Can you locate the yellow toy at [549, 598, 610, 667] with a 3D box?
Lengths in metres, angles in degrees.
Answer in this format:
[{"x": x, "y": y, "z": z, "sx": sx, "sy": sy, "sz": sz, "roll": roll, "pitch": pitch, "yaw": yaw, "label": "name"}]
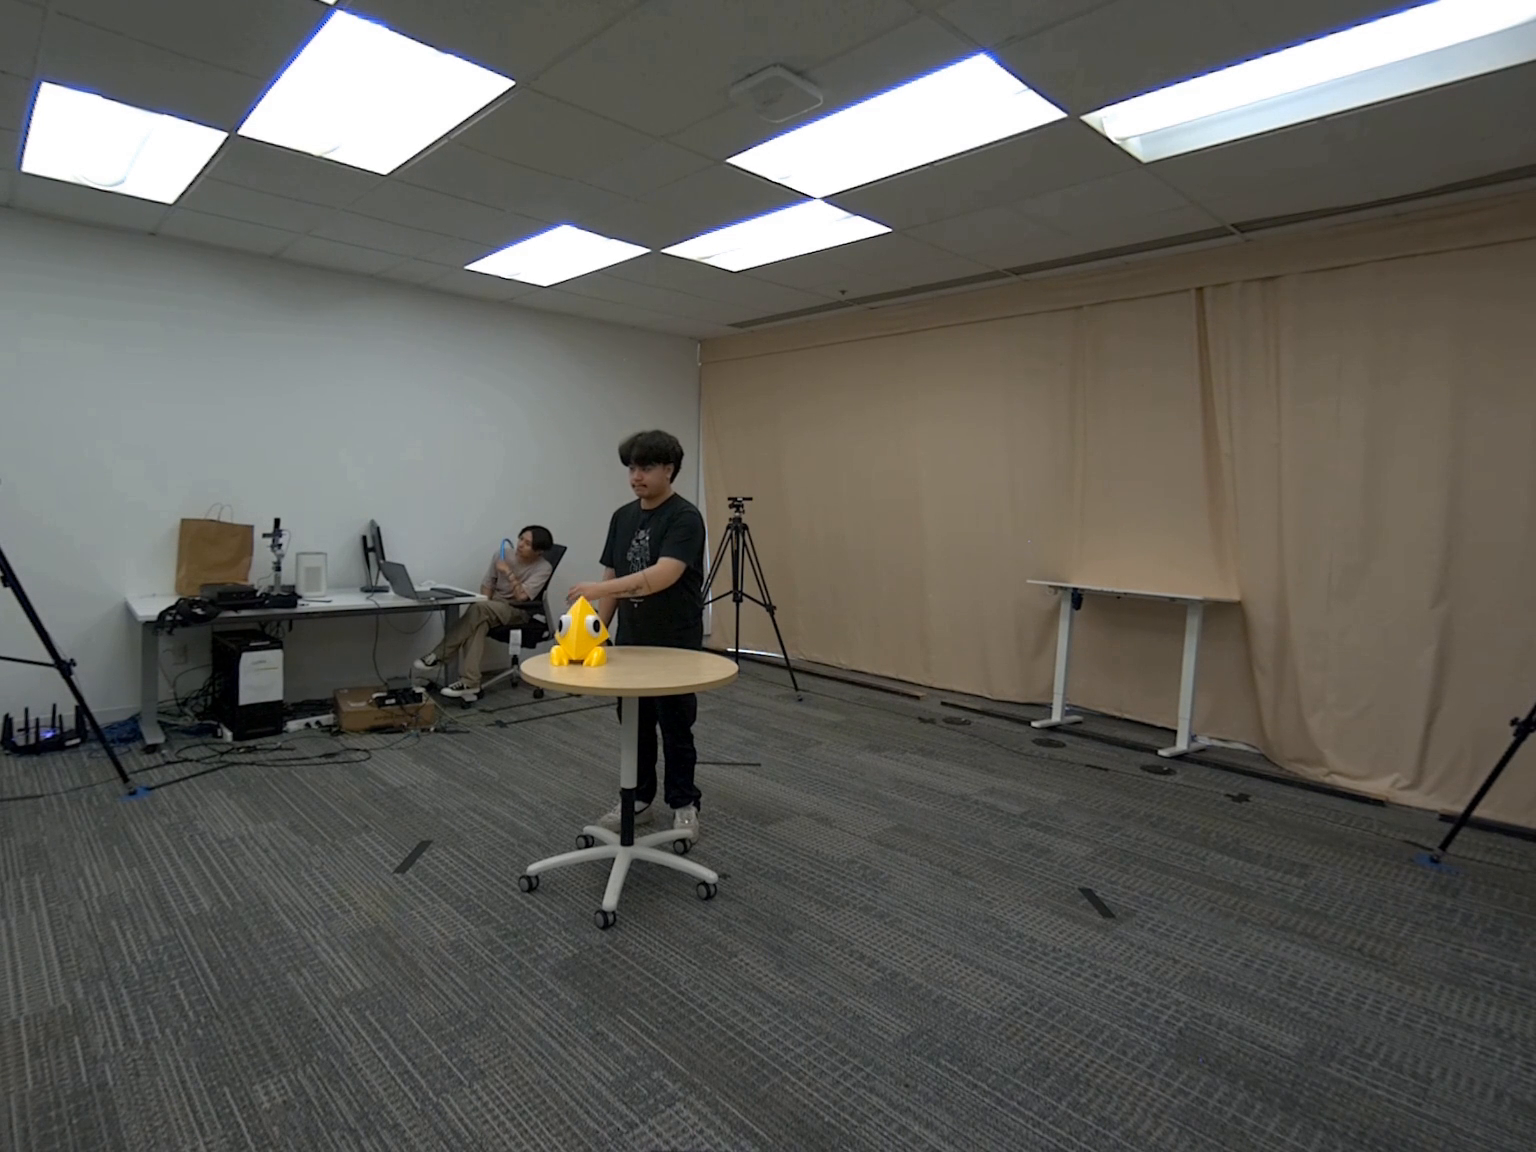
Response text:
[{"x": -0.694, "y": 0.194, "z": 3.024, "sx": 0.204, "sy": 0.230, "sz": 0.194, "roll": 2, "pitch": 4, "yaw": -2, "label": "yellow toy"}]
